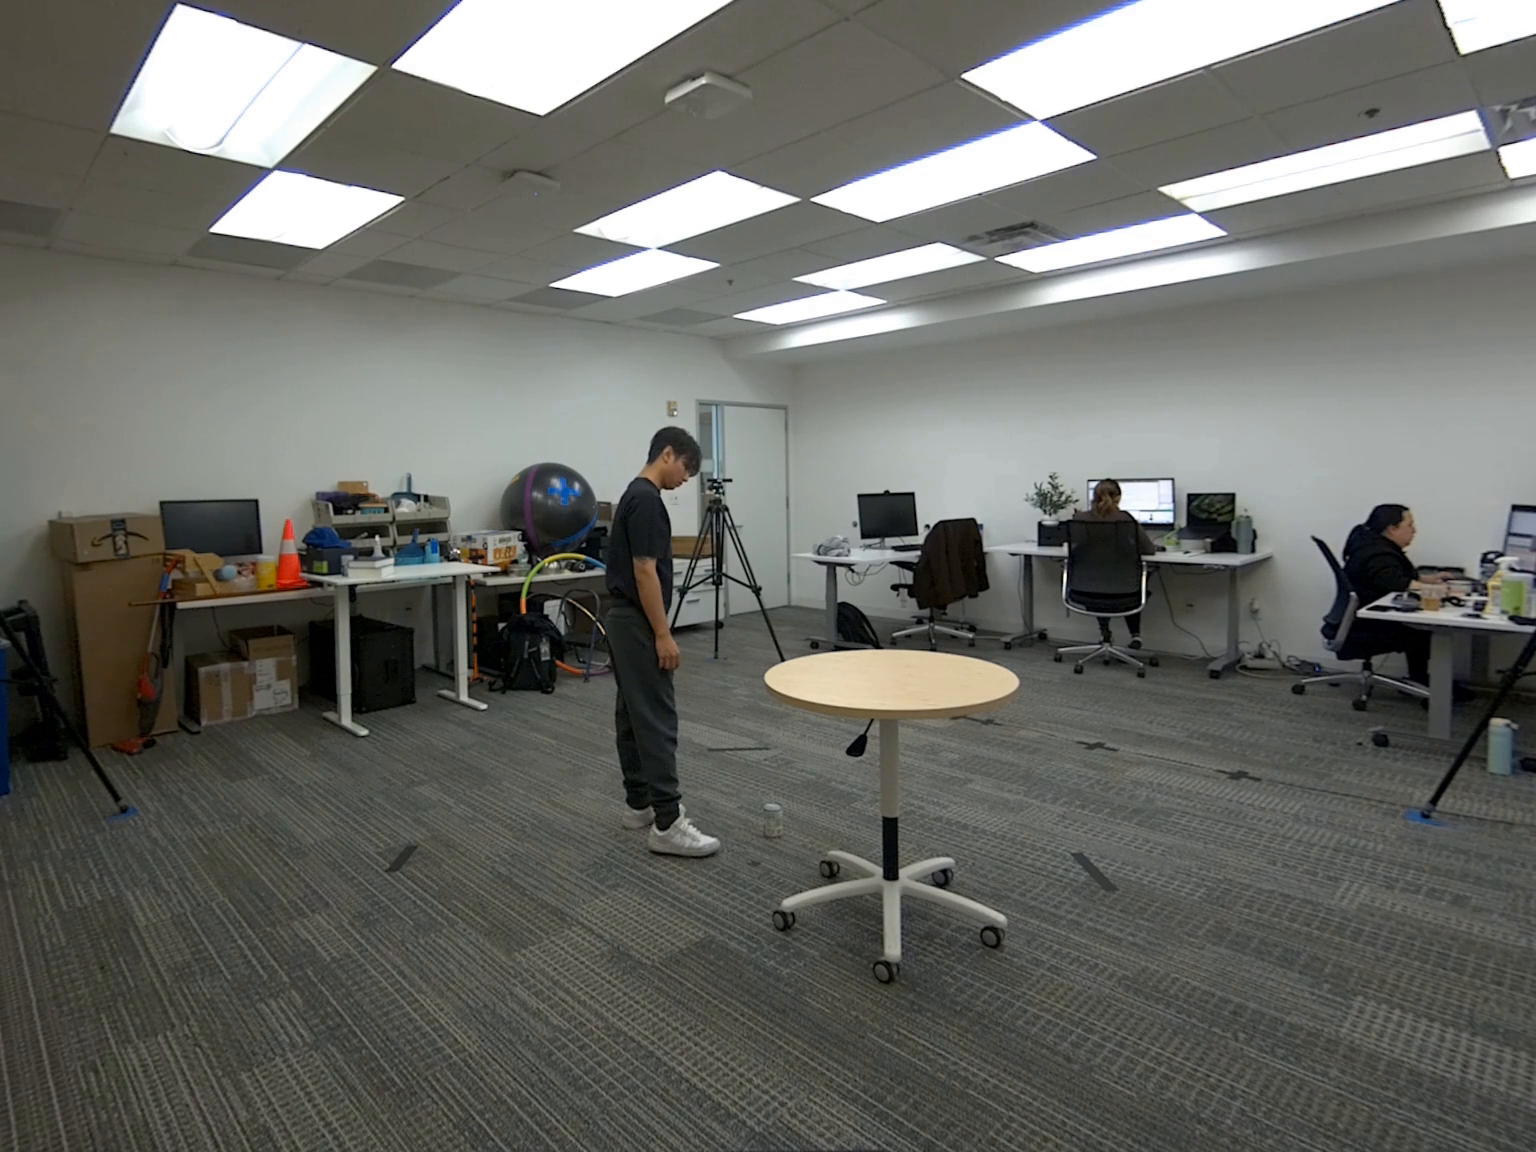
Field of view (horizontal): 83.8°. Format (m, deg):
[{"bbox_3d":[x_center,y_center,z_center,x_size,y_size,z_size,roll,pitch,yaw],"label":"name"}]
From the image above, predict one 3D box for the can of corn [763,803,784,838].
[{"bbox_3d":[0.026,0.964,3.351,0.074,0.111,0.074,-1,4,-2],"label":"can of corn"}]
